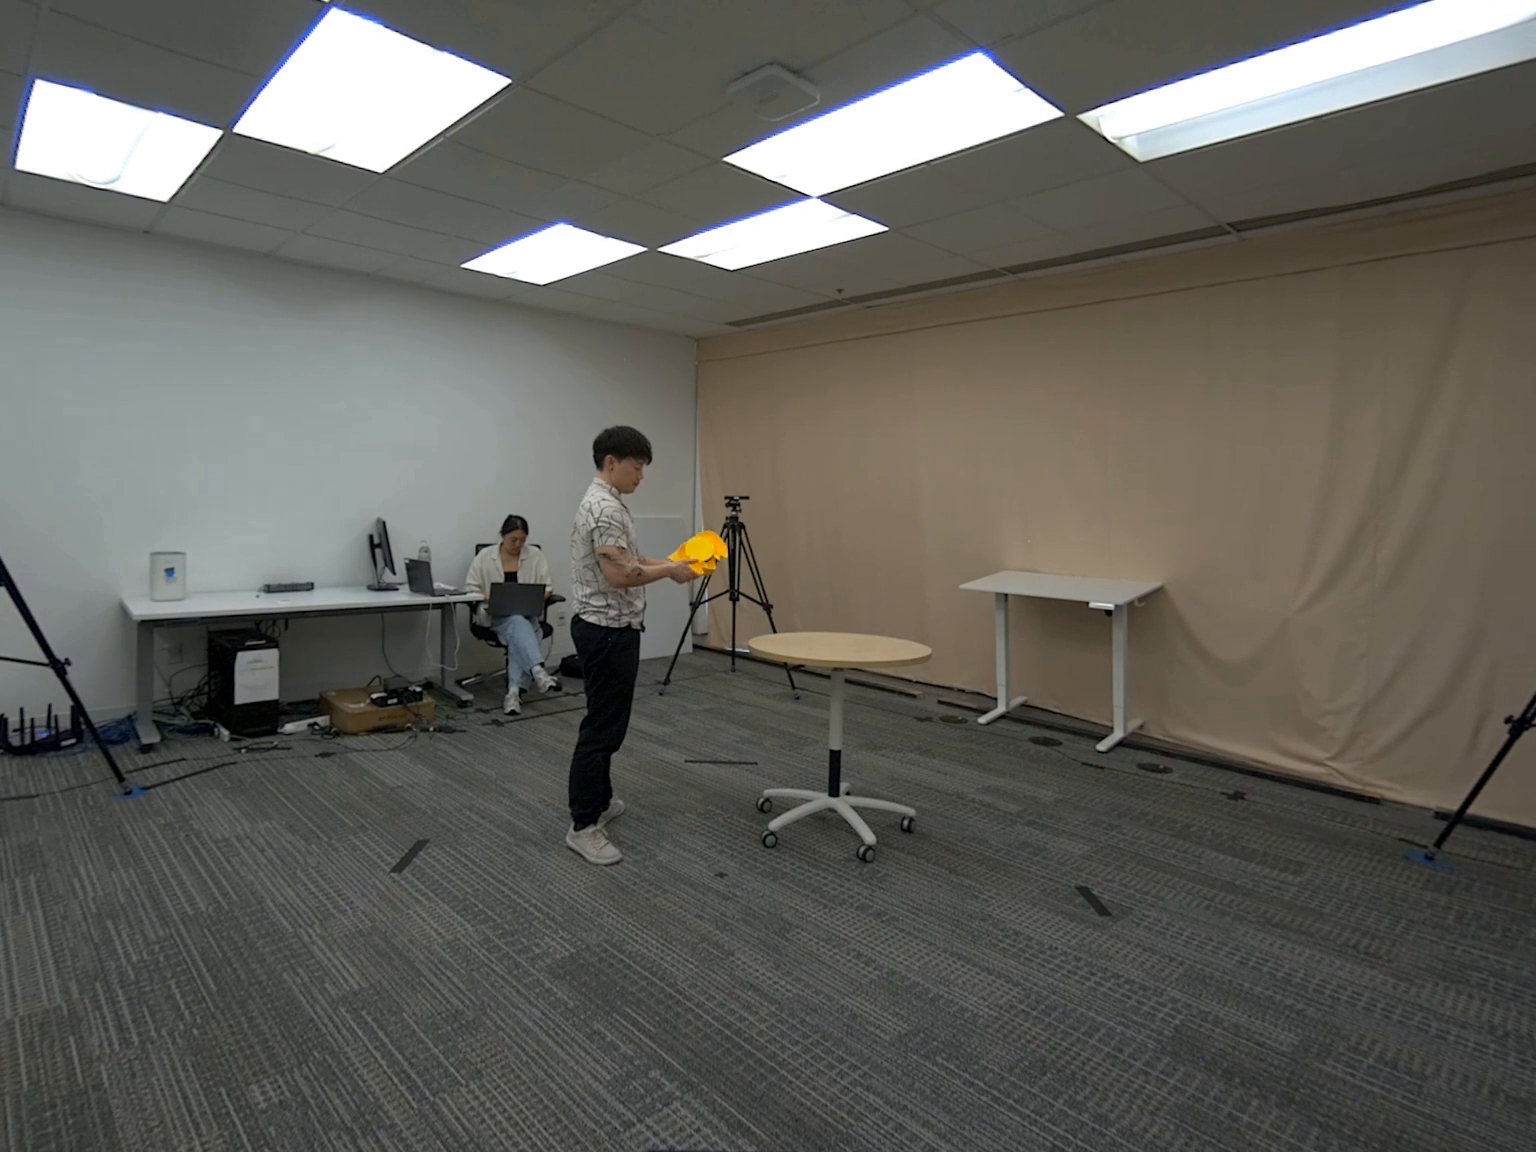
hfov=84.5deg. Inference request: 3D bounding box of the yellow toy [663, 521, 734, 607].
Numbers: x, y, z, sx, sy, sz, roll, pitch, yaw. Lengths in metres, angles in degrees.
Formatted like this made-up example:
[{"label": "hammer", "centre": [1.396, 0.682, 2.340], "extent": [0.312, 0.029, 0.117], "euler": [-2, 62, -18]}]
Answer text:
[{"label": "yellow toy", "centre": [-0.299, -0.050, 3.544], "extent": [0.204, 0.197, 0.227], "euler": [-36, -20, -25]}]
